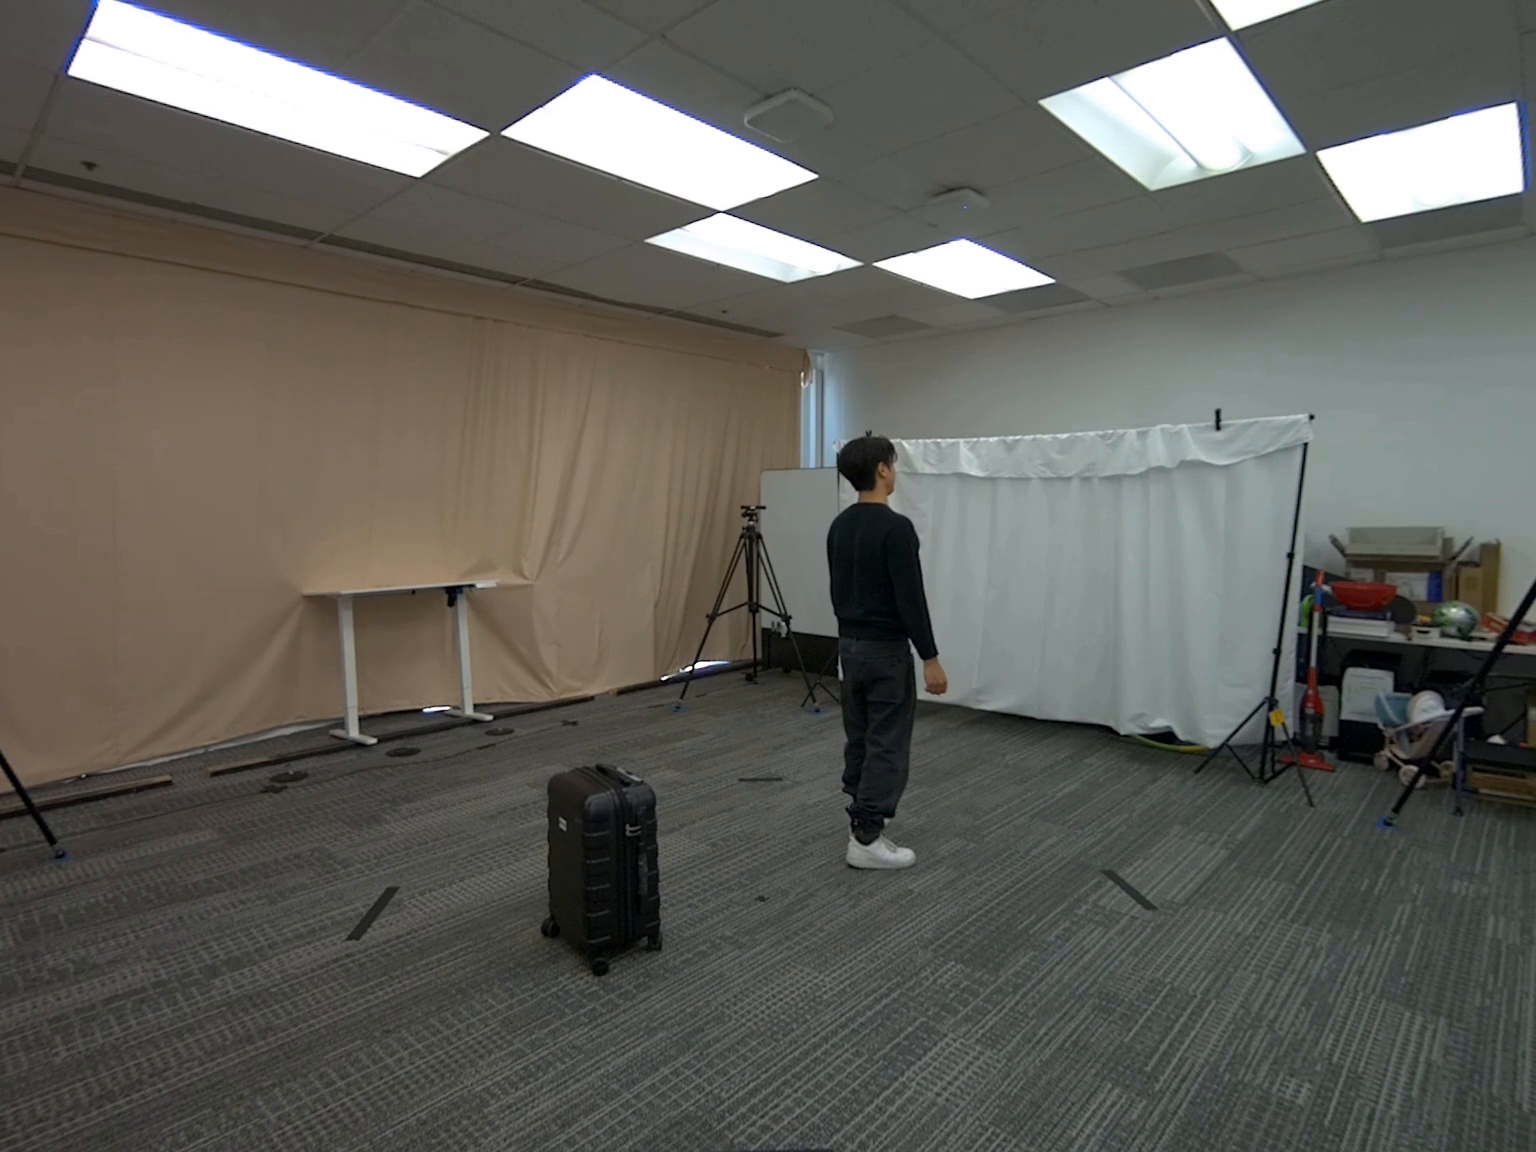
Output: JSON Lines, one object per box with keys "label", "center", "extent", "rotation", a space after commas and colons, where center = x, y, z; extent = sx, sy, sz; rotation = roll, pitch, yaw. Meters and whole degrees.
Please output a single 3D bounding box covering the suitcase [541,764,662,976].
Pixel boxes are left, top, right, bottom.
{"label": "suitcase", "center": [-0.527, 0.897, 2.670], "extent": [0.241, 0.548, 0.387], "rotation": [-3, 5, -37]}
